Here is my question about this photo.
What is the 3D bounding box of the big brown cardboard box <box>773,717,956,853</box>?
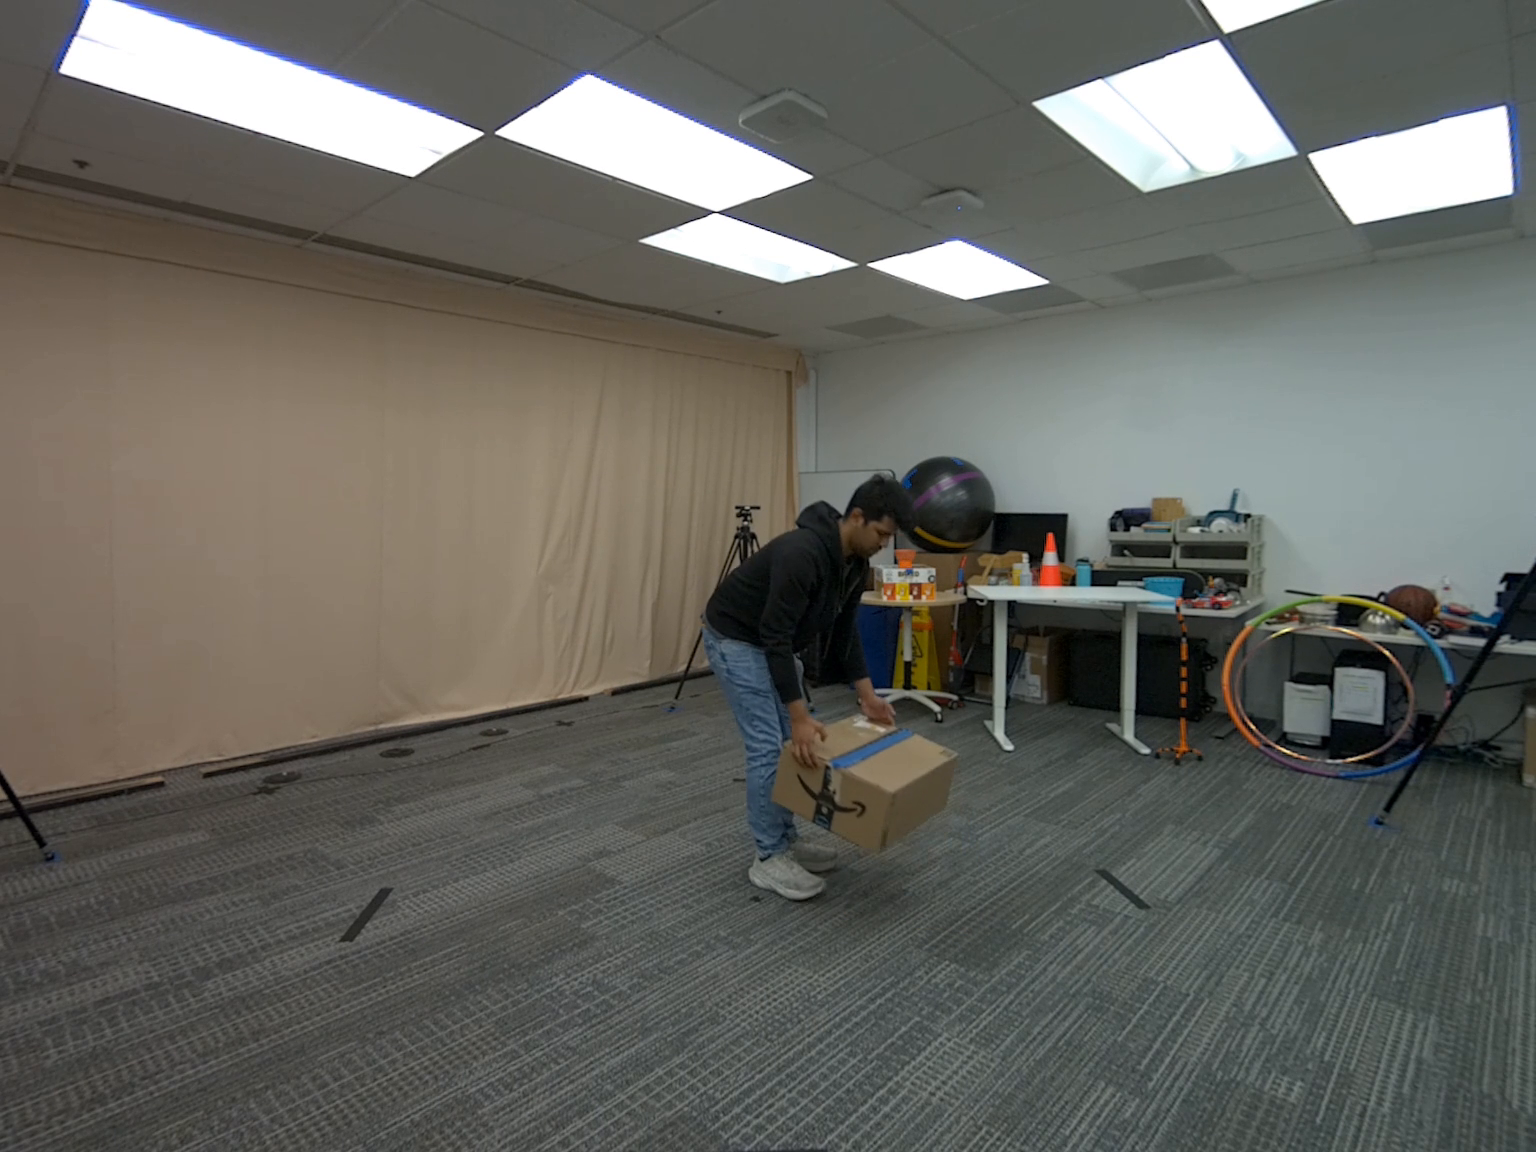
[{"bbox_3d":[0.362,0.713,2.969,0.432,0.232,0.572,16,13,33],"label":"big brown cardboard box"}]
